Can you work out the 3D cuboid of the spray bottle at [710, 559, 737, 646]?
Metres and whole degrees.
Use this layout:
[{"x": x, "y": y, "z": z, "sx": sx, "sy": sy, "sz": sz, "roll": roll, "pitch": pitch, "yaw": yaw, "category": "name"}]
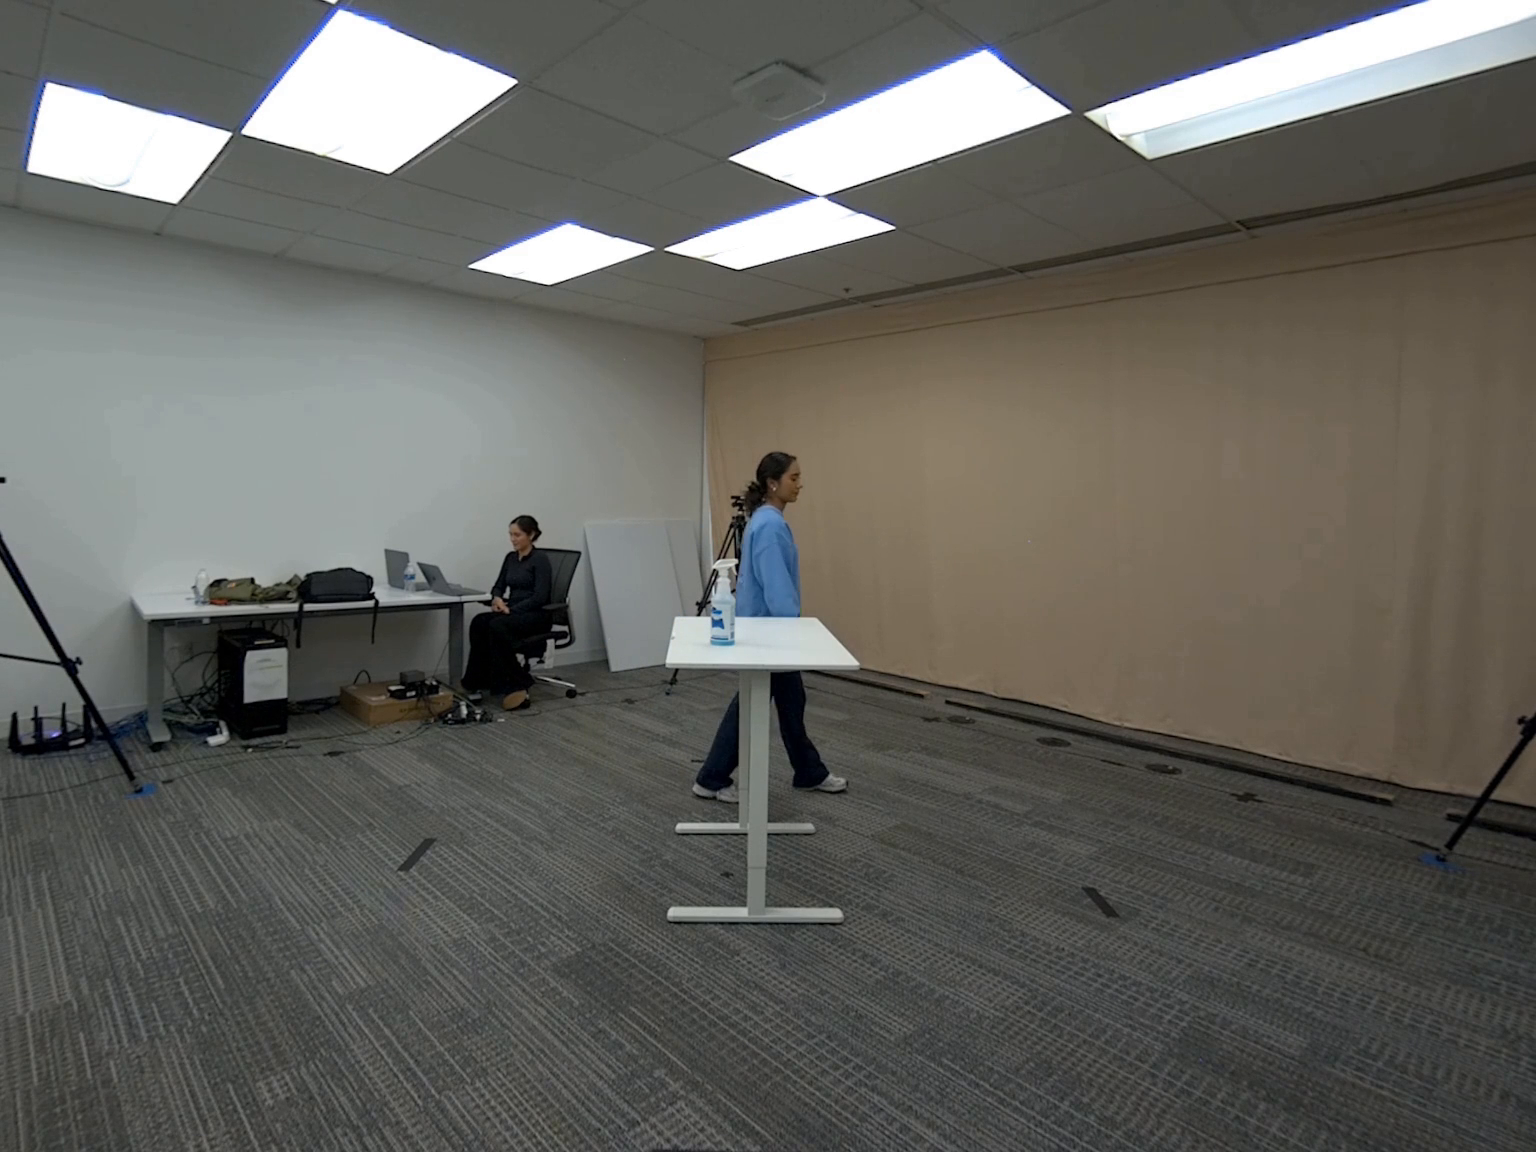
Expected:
[{"x": -0.162, "y": 0.093, "z": 2.930, "sx": 0.090, "sy": 0.297, "sz": 0.087, "roll": 1, "pitch": 2, "yaw": 4, "category": "spray bottle"}]
